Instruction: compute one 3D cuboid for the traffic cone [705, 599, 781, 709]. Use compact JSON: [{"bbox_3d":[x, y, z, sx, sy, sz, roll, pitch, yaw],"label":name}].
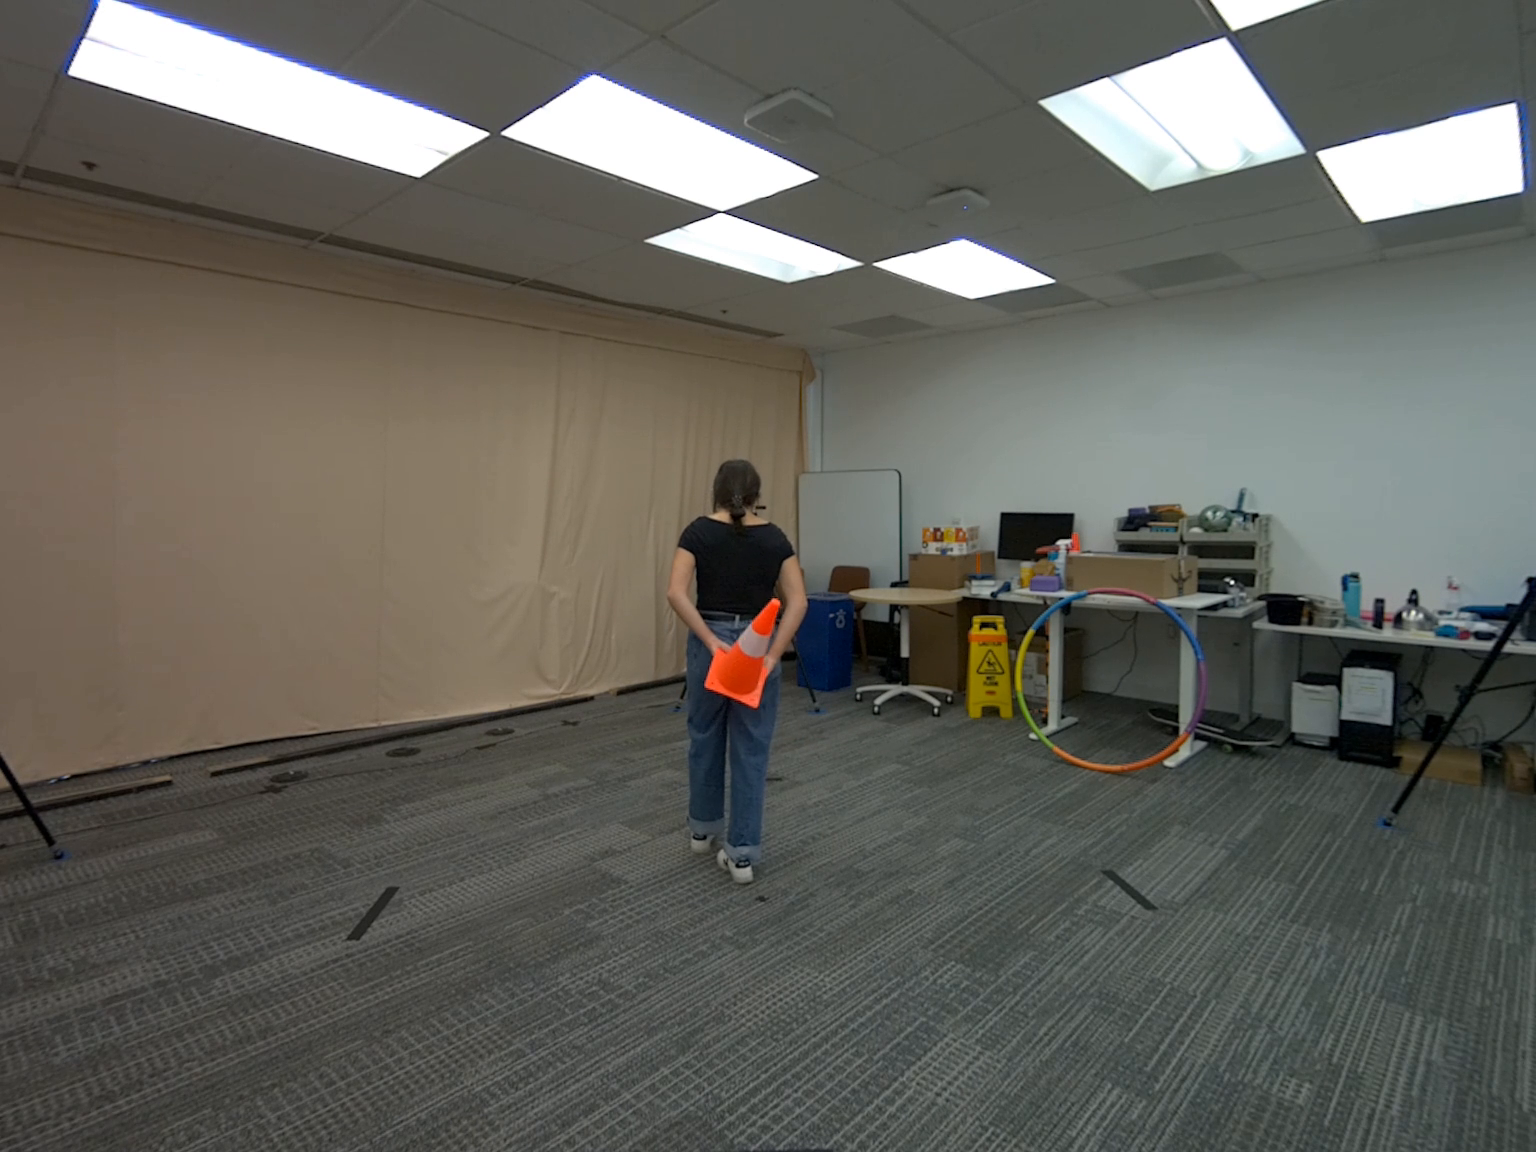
[{"bbox_3d":[-0.054,0.228,2.848,0.203,0.381,0.206,21,38,-2],"label":"traffic cone"}]
